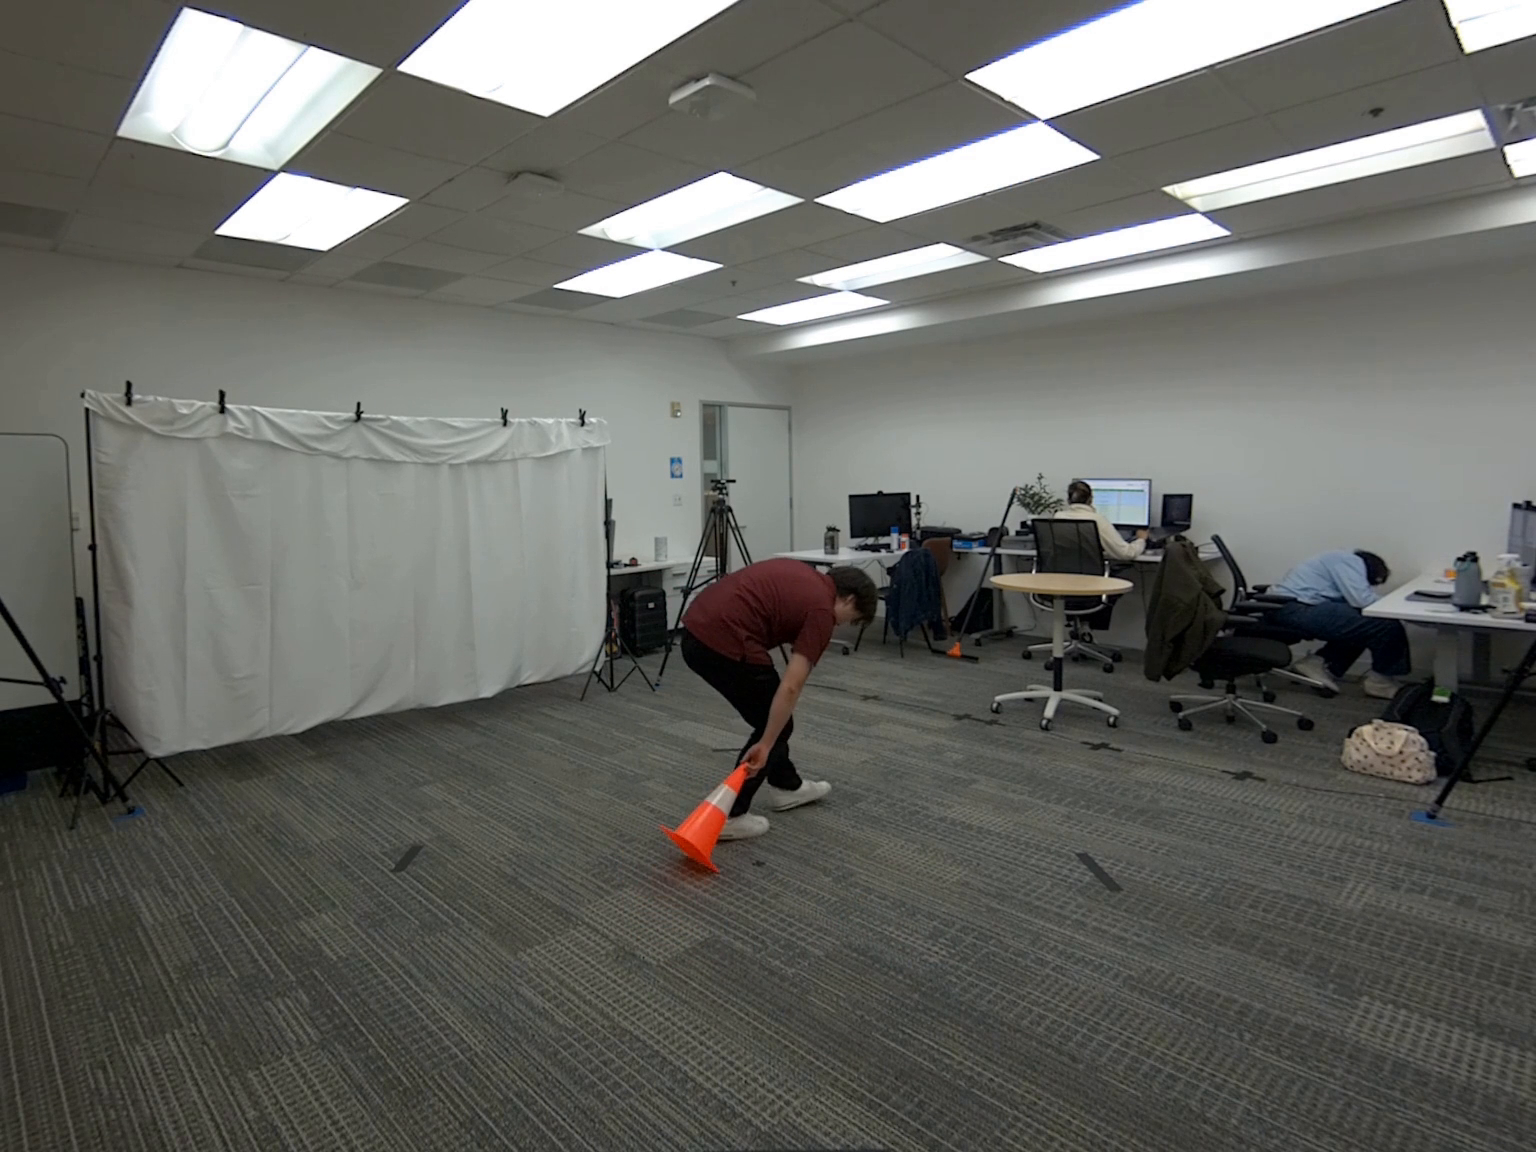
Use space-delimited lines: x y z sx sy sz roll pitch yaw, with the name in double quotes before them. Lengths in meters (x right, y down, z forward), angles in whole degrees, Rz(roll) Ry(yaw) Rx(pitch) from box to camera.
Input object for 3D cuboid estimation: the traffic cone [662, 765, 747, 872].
"traffic cone" -0.186 0.856 3.152 0.210 0.198 0.384 -5 37 51
